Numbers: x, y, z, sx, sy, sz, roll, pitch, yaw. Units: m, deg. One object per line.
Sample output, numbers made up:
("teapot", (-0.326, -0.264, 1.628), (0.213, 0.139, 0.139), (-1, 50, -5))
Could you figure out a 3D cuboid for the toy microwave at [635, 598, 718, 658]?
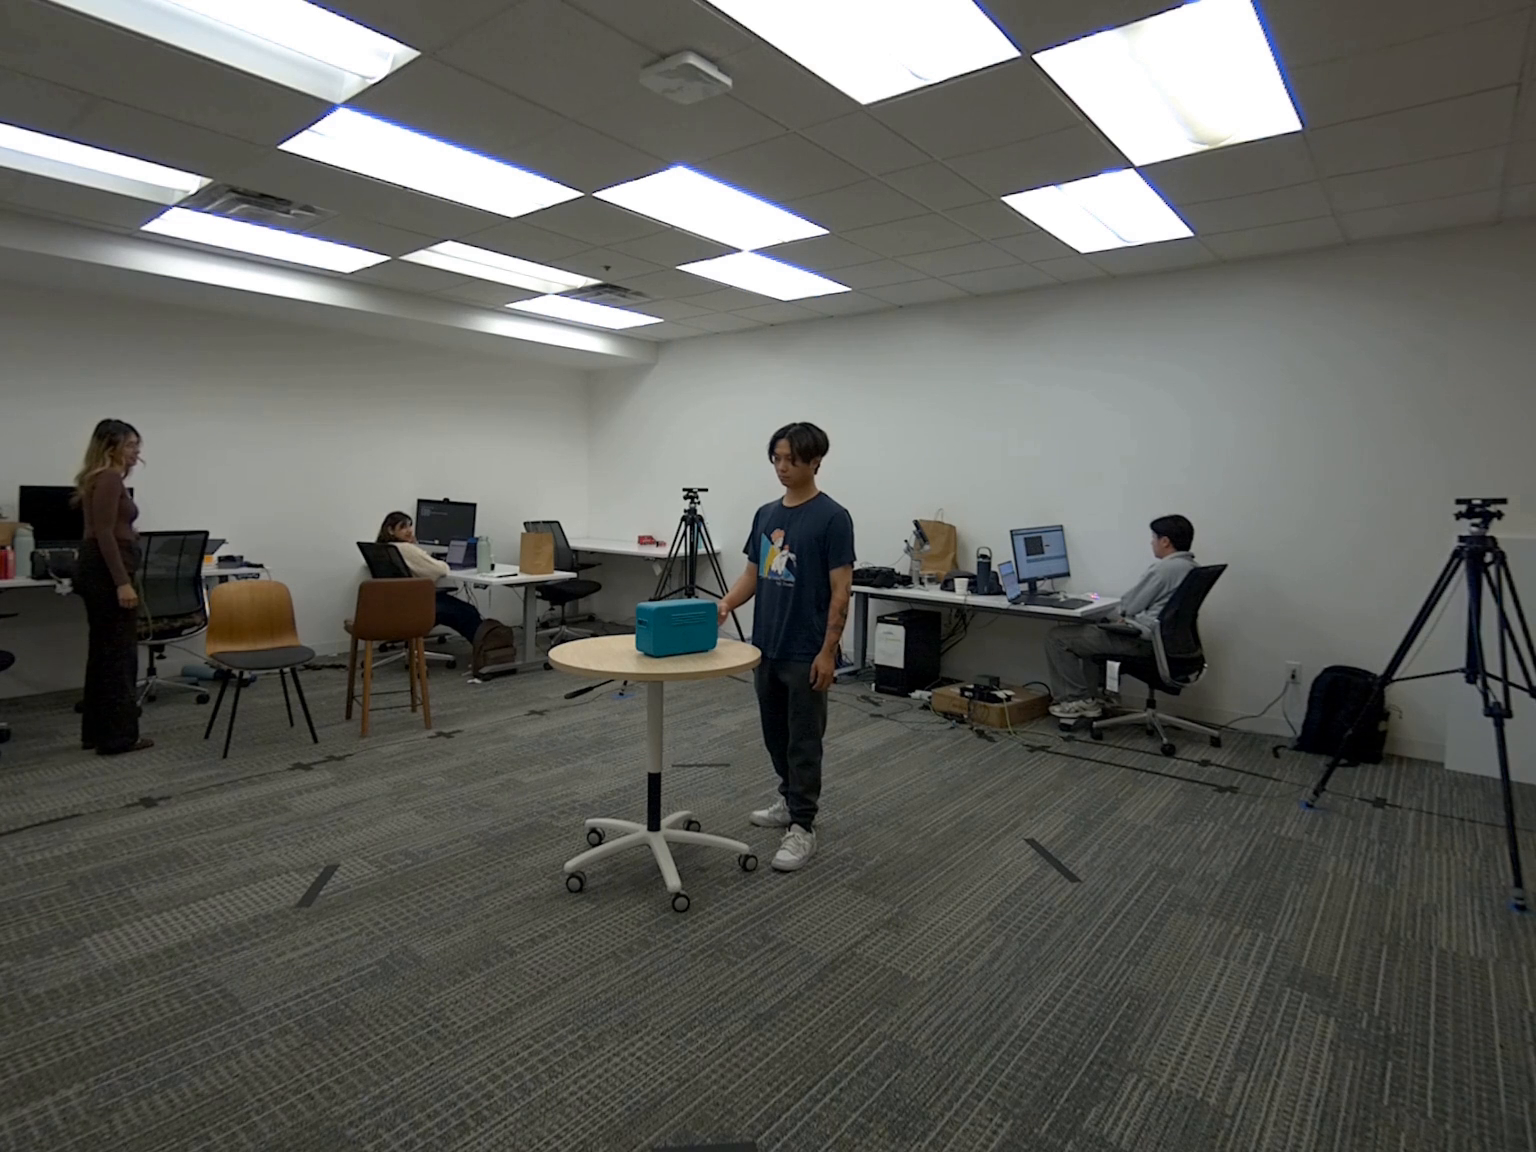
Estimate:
("toy microwave", (-0.344, 0.181, 3.066), (0.278, 0.183, 0.157), (-3, 5, -38))
